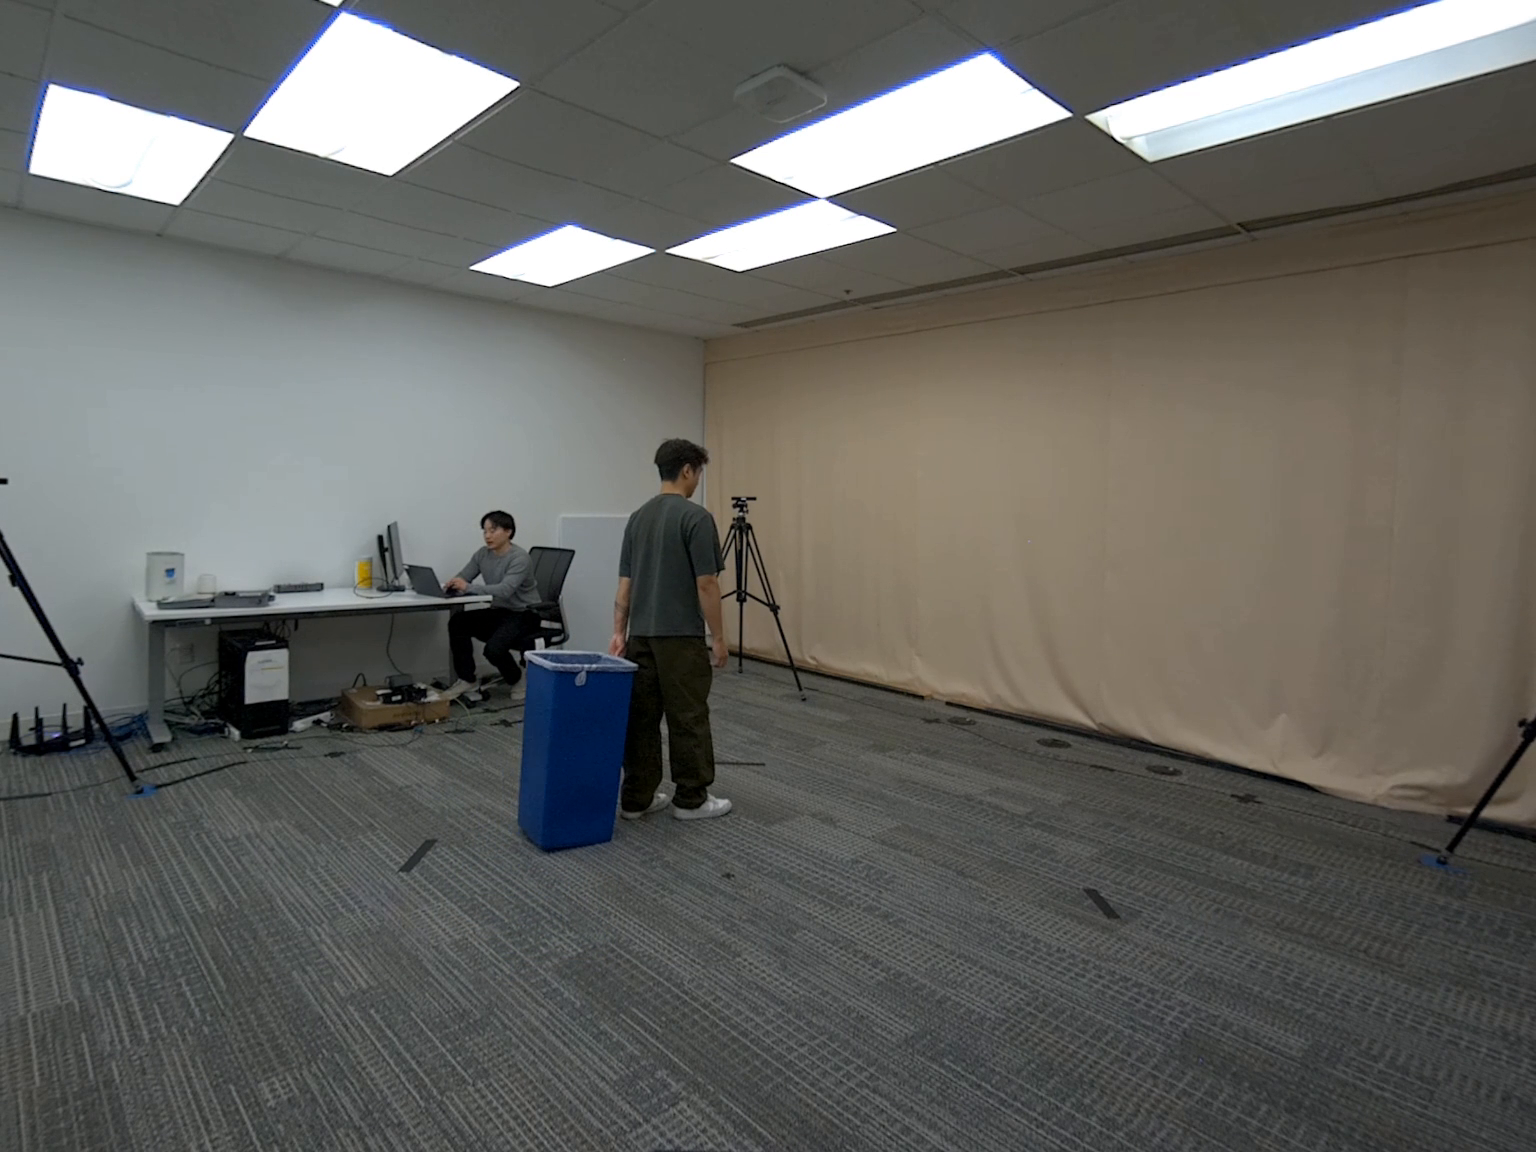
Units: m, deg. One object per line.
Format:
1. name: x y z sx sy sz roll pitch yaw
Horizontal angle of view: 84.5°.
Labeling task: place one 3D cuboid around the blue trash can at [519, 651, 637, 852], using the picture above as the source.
1. blue trash can: -0.813 0.694 3.447 0.369 0.713 0.383 5 0 -36
